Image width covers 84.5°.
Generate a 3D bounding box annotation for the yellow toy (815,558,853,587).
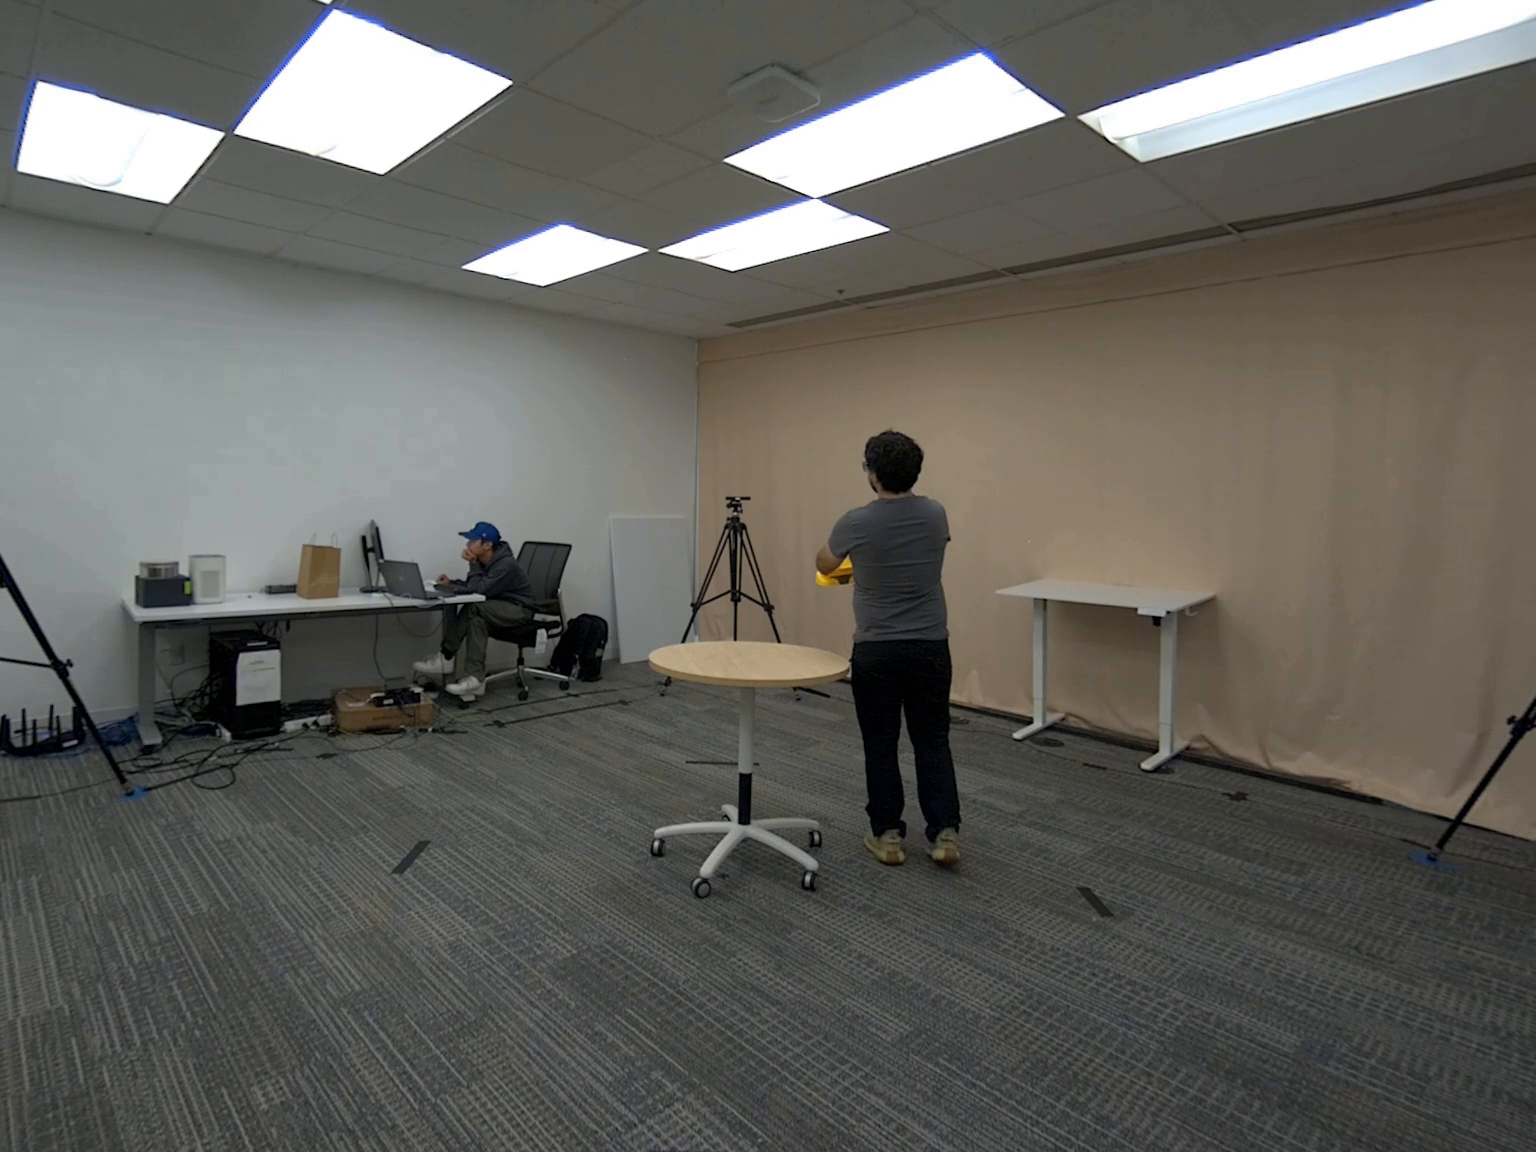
[{"bbox_3d":[0.302,-0.089,3.829,0.202,0.229,0.197,-6,12,-16],"label":"yellow toy"}]
